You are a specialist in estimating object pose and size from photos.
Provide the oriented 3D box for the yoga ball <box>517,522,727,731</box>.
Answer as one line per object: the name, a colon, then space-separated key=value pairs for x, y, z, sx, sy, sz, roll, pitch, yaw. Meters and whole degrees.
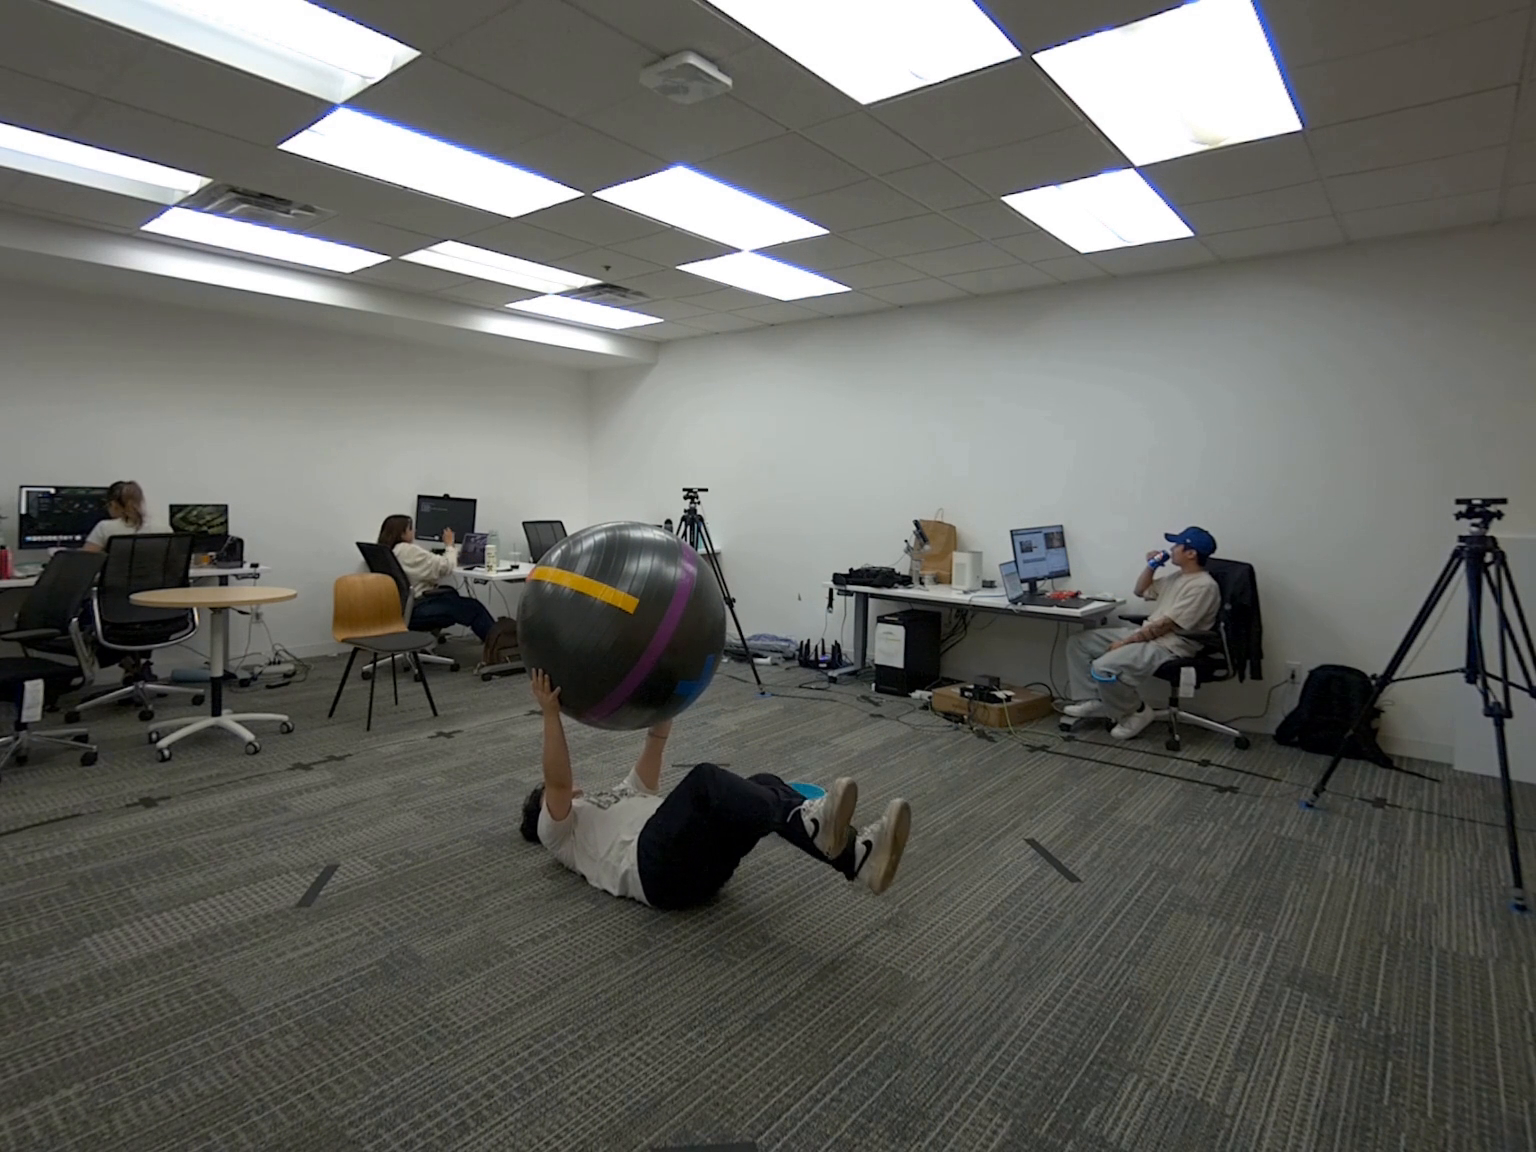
yoga ball: x=-0.543 y=0.184 z=3.098 sx=0.757 sy=0.756 sz=0.761 roll=1 pitch=4 yaw=-2
